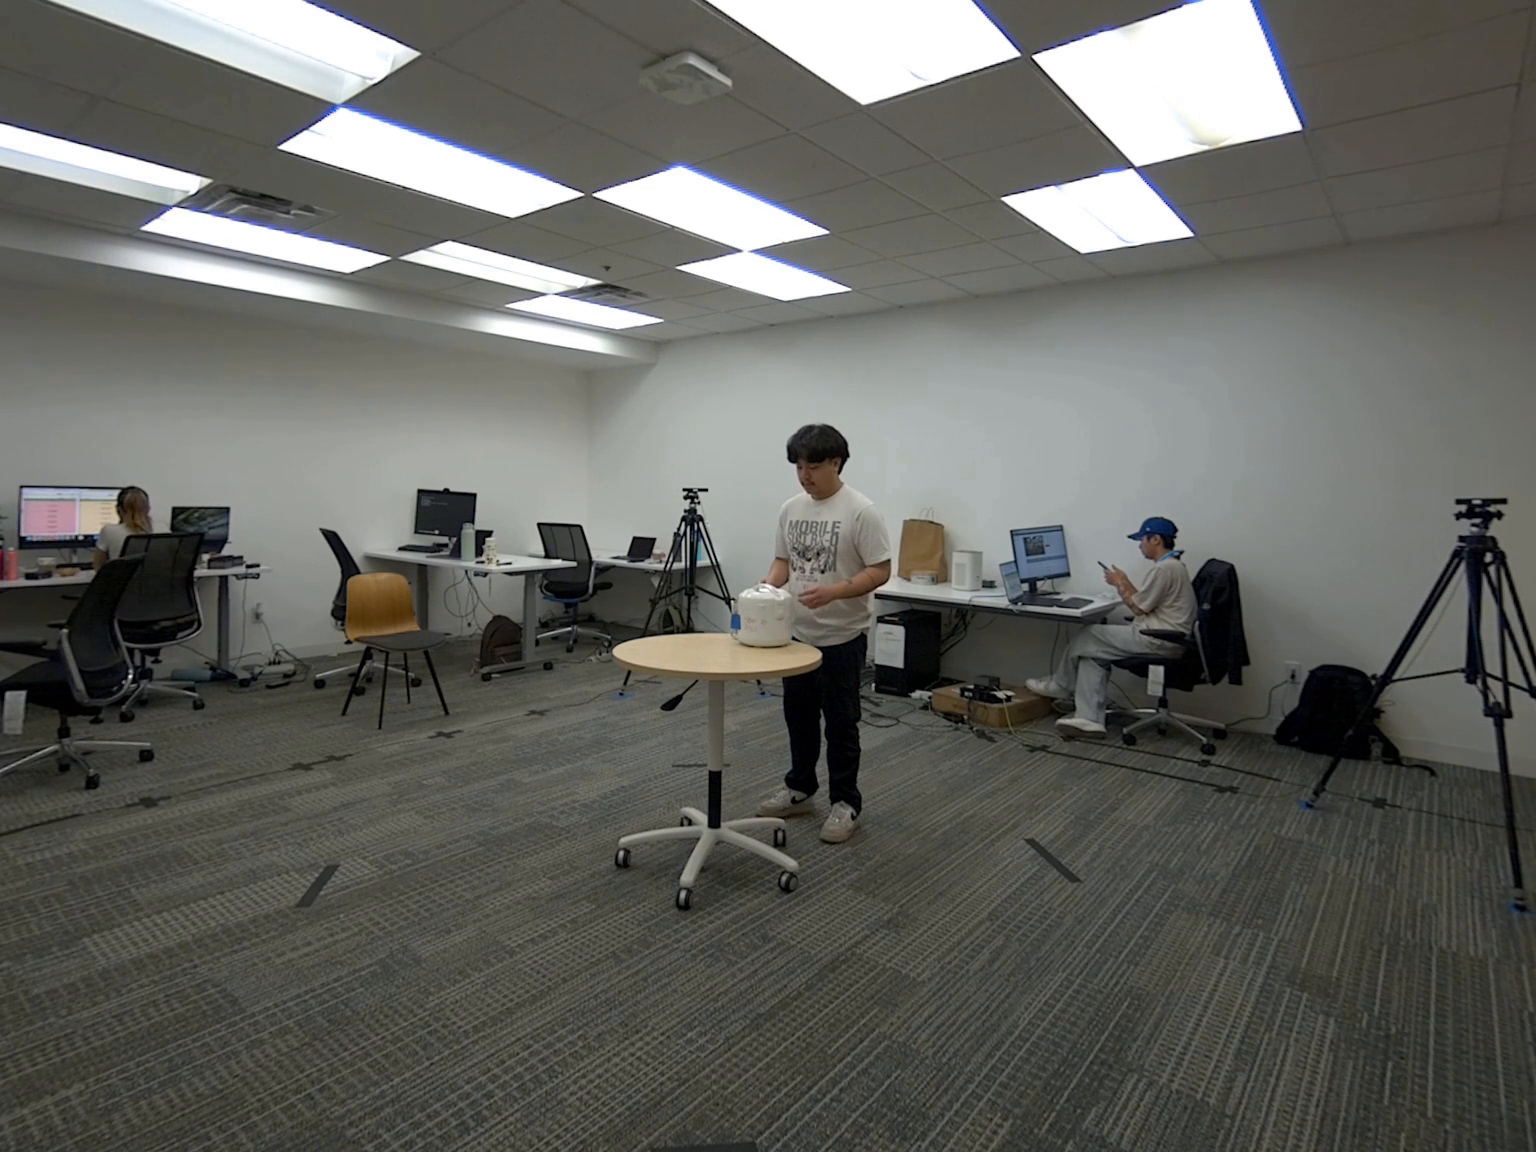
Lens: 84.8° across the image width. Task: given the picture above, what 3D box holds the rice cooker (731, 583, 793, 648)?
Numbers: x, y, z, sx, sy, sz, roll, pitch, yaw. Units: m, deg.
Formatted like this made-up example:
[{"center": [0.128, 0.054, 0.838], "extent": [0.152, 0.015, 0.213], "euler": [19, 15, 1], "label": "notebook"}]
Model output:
[{"center": [-0.022, 0.144, 3.274], "extent": [0.212, 0.232, 0.227], "euler": [-2, 5, -30], "label": "rice cooker"}]
